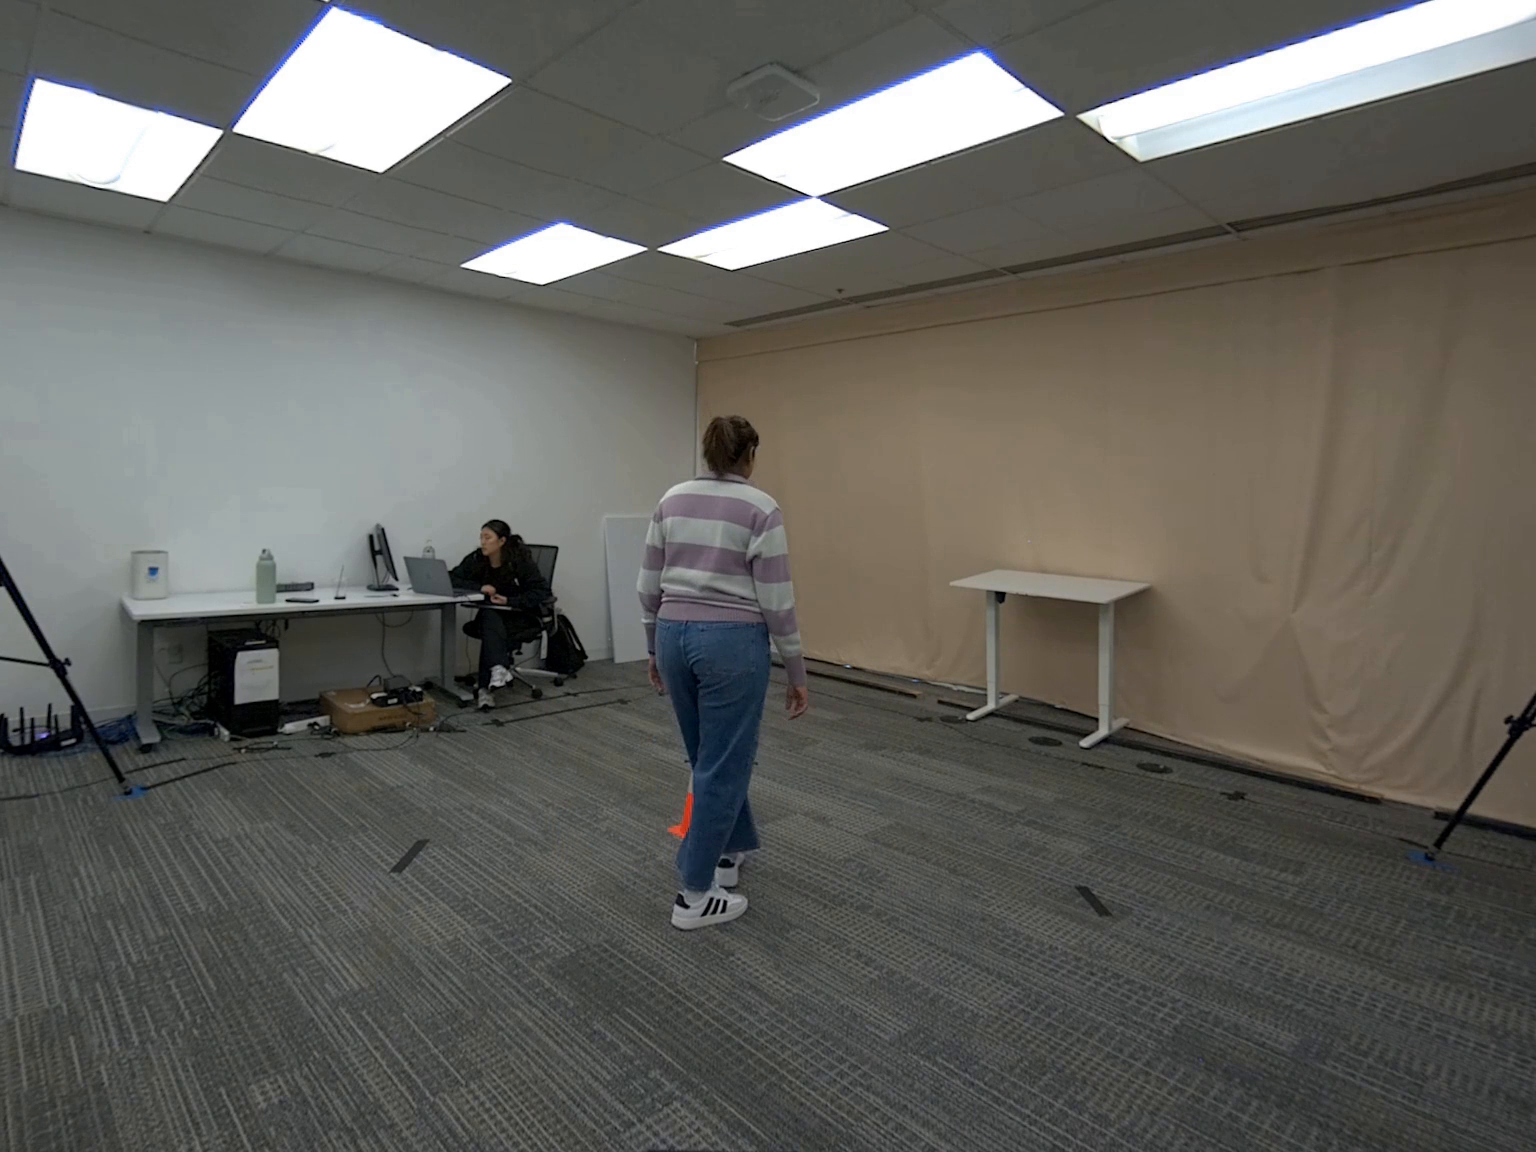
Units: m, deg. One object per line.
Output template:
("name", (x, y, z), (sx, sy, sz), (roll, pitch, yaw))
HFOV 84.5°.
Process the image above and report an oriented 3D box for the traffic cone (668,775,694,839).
("traffic cone", (-0.292, 0.884, 3.505), (0.210, 0.382, 0.199), (5, 5, 42))
